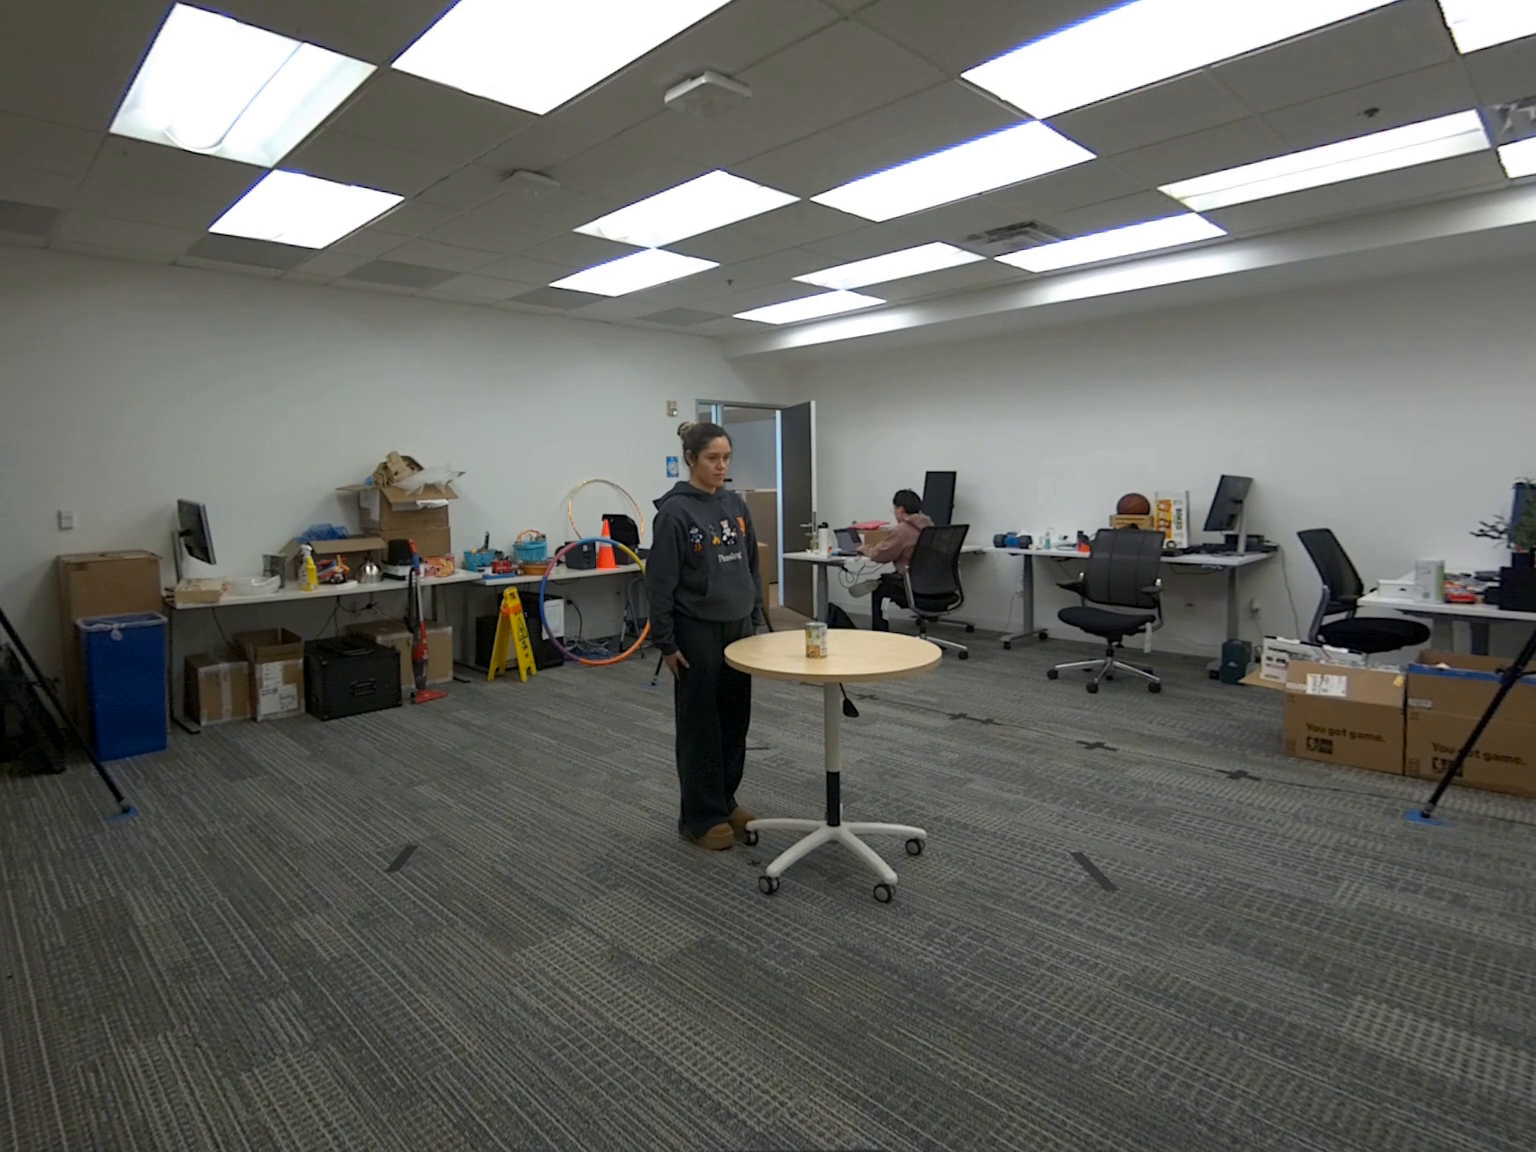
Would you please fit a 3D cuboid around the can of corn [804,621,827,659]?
[{"bbox_3d":[0.171,0.220,2.933,0.074,0.110,0.074,-1,5,-2],"label":"can of corn"}]
